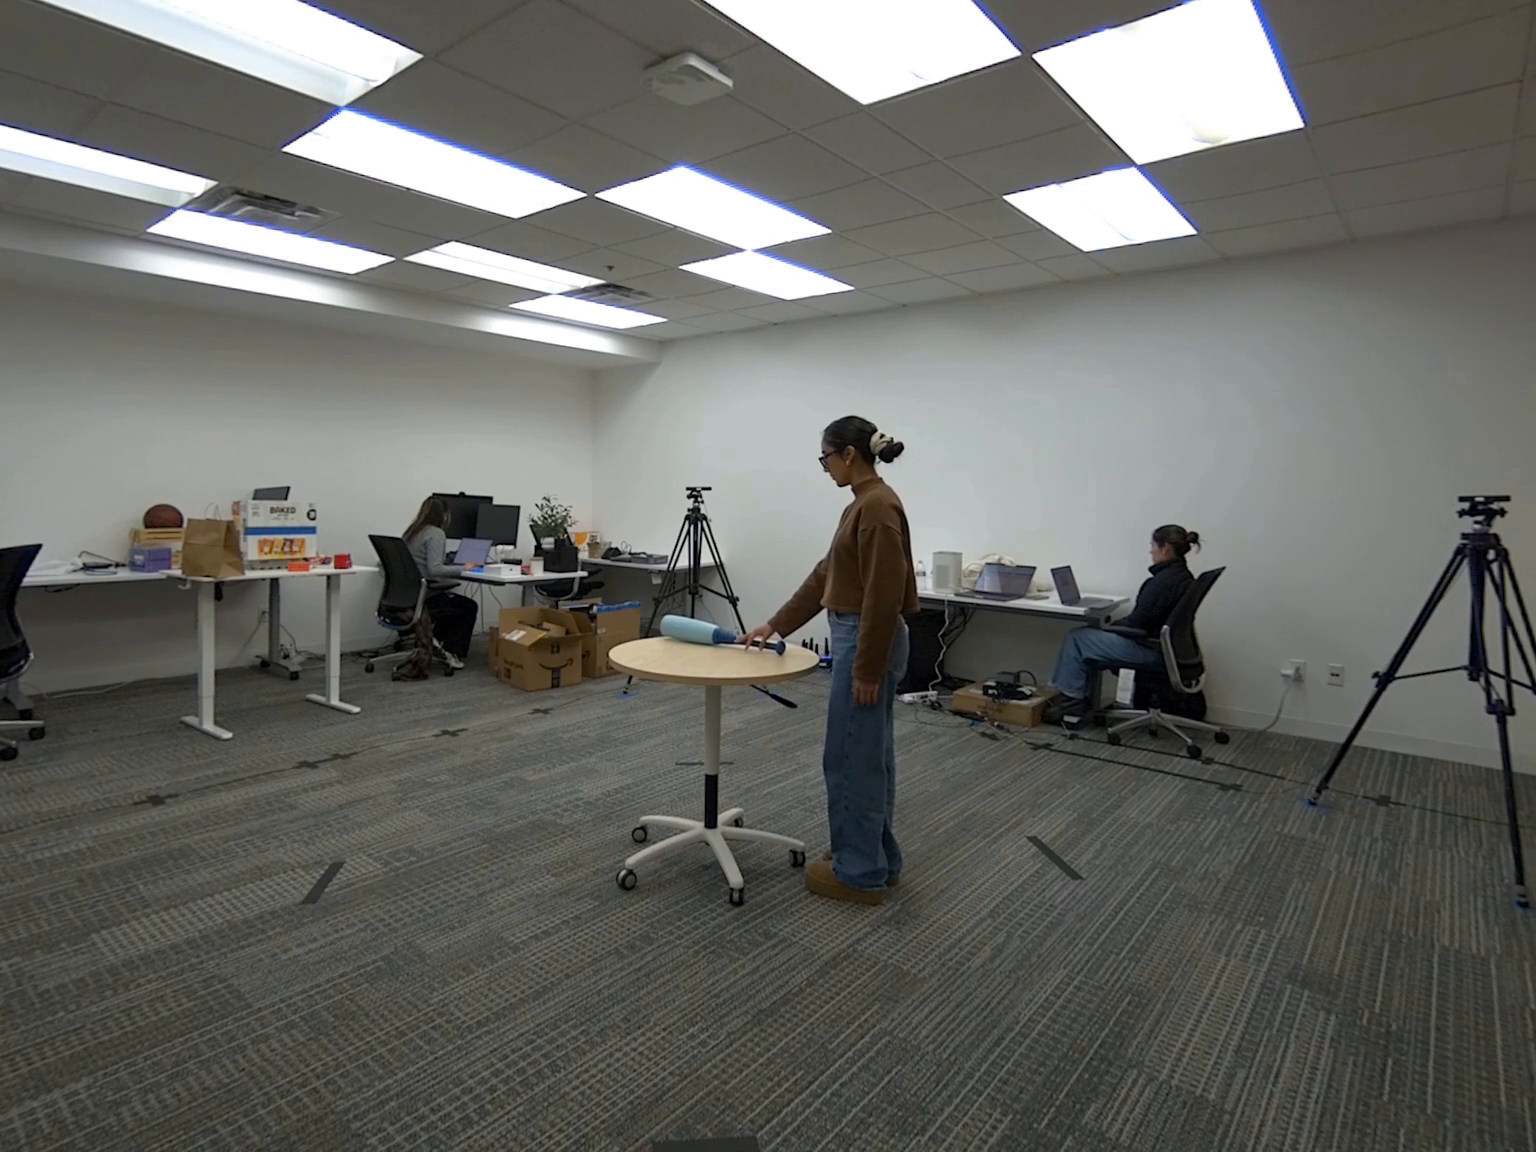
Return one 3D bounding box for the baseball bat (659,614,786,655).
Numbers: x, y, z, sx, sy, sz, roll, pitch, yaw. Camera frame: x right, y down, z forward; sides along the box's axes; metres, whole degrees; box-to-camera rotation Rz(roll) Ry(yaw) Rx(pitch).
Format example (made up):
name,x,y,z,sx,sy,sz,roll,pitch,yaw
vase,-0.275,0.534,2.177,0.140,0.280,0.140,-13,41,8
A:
name,x,y,z,sx,sy,sz,roll,pitch,yaw
baseball bat,-0.184,0.233,3.264,0.560,0.088,0.087,9,7,30
